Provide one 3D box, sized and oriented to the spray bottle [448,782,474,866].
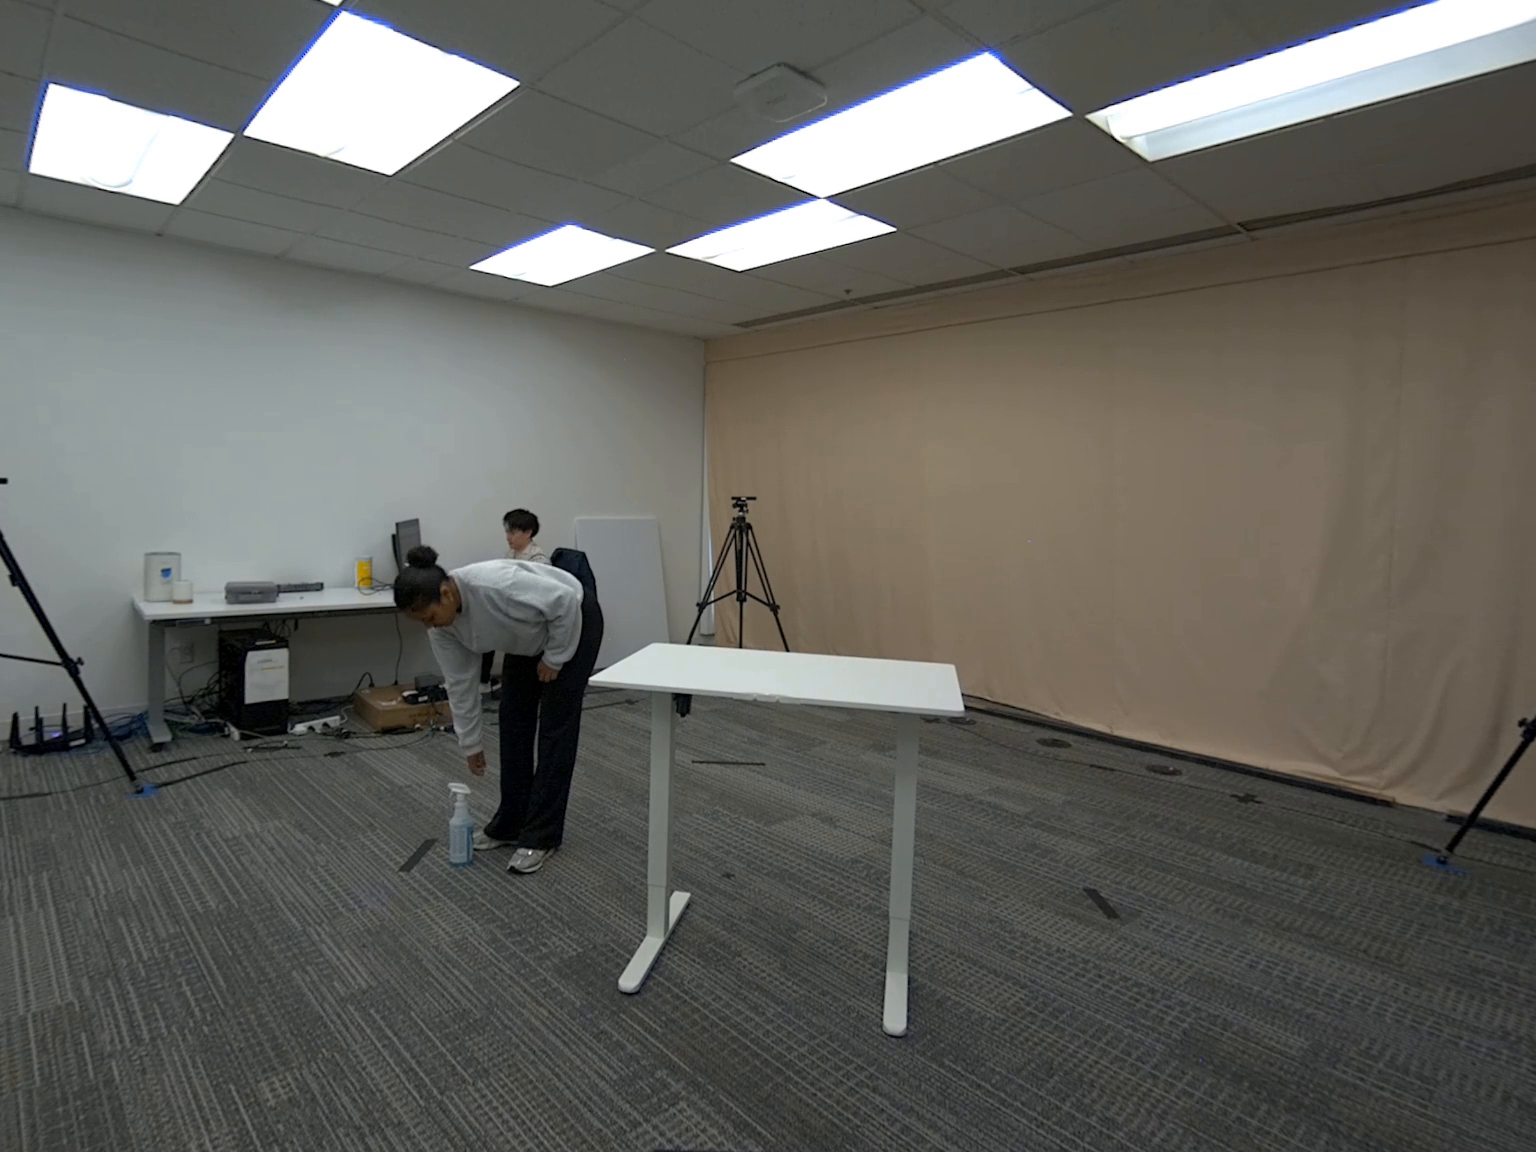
[{"bbox_3d":[-1.170,0.936,3.165,0.092,0.297,0.085,3,3,35],"label":"spray bottle"}]
